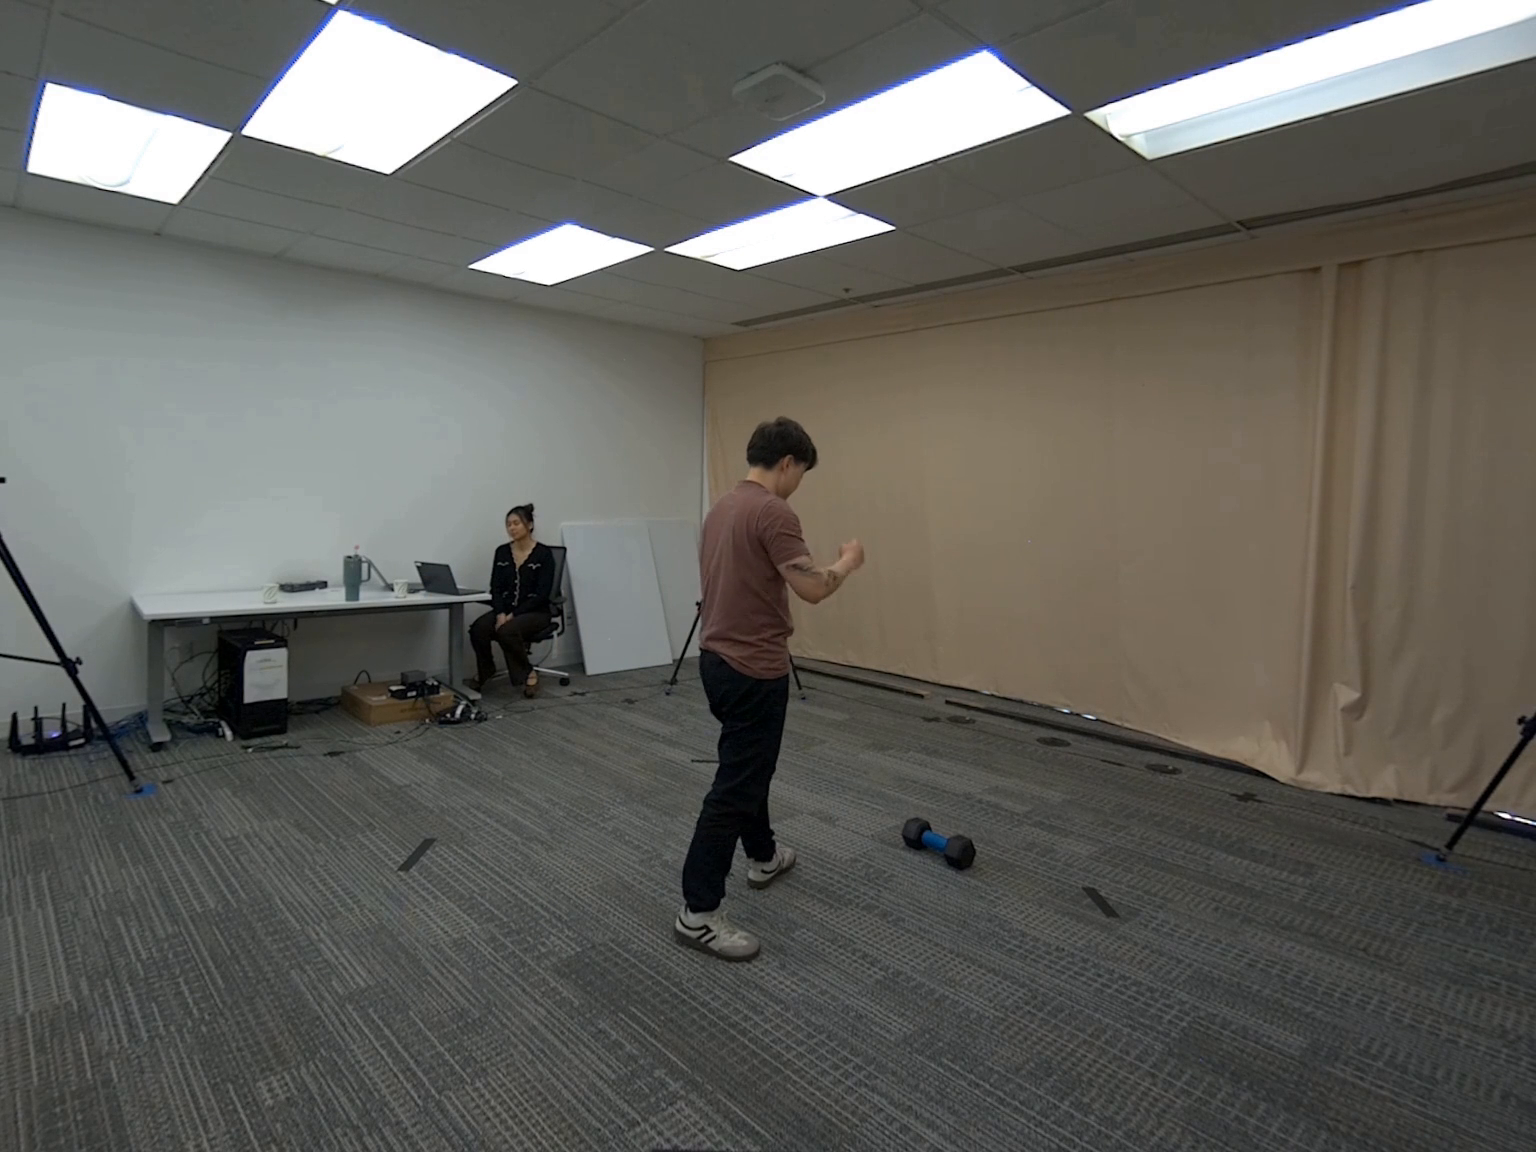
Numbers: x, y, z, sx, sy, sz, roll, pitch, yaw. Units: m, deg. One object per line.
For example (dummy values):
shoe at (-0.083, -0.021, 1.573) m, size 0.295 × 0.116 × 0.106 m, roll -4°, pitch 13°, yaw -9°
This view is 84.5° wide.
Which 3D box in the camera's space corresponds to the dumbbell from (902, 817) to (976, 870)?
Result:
dumbbell at (0.659, 1.049, 3.317) m, size 0.120 × 0.108 × 0.301 m, roll -1°, pitch 5°, yaw -38°
